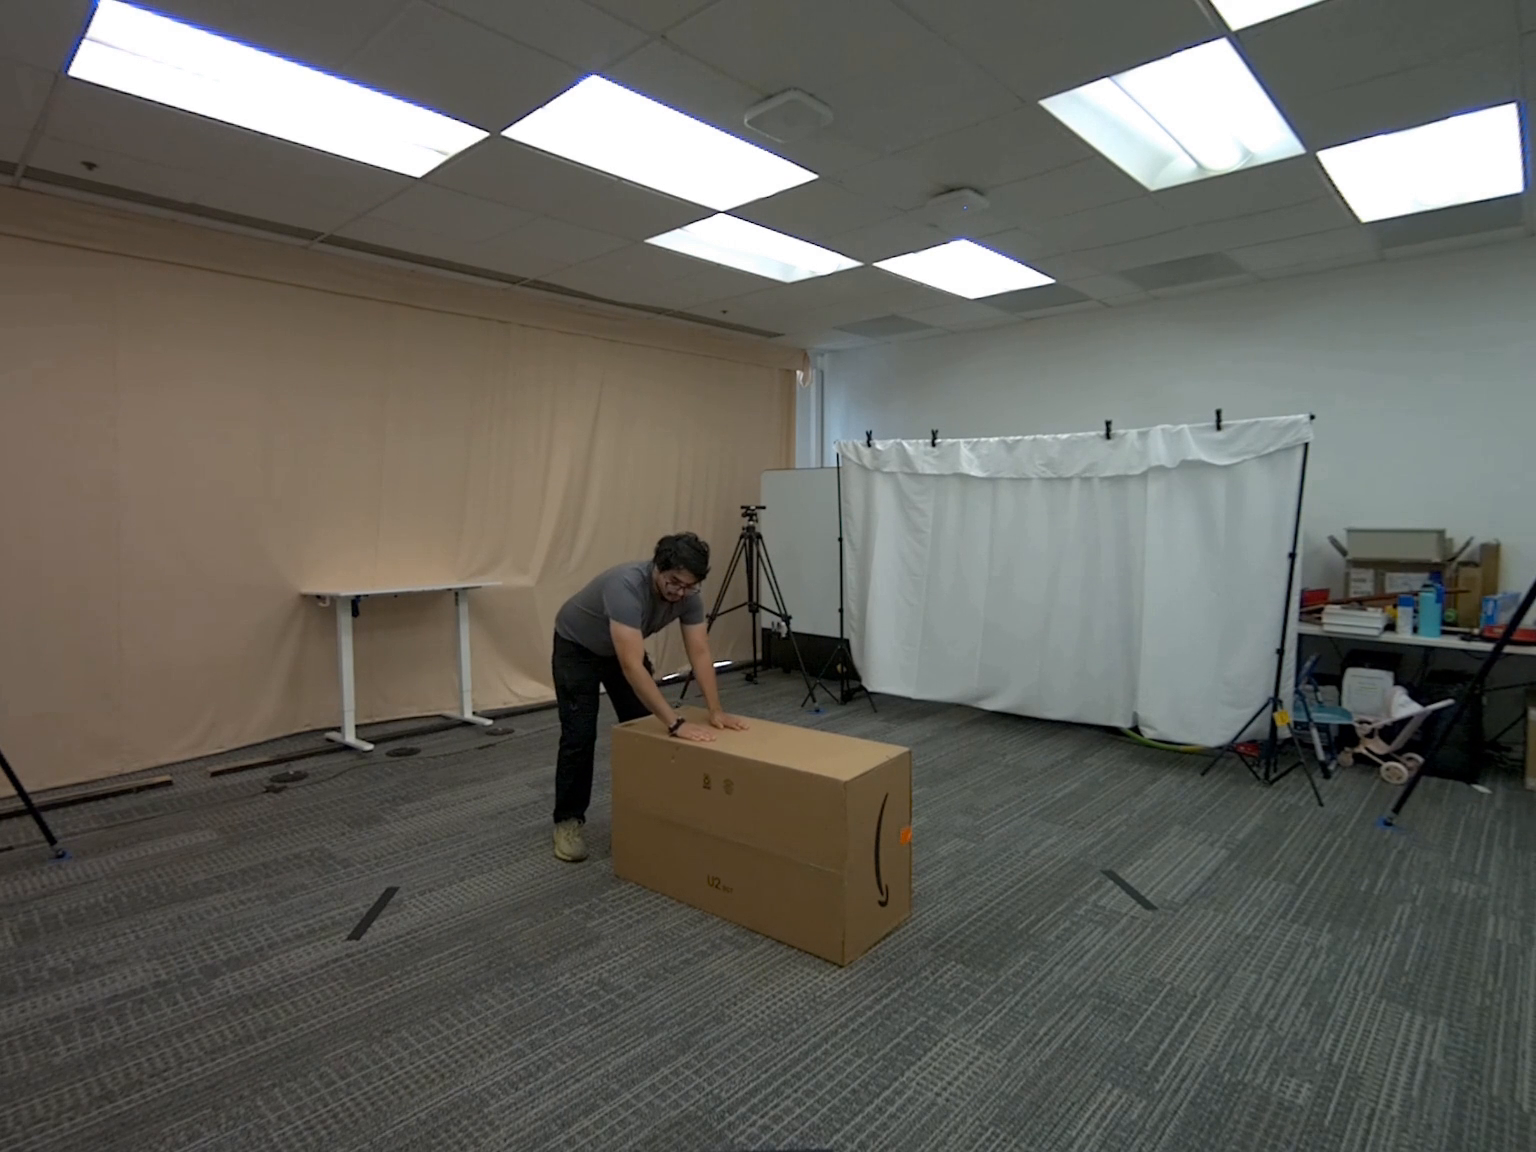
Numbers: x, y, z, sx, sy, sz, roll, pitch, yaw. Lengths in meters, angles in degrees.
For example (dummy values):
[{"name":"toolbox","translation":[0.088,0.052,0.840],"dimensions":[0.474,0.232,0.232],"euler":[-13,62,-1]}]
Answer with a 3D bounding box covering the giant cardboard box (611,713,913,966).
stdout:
[{"name":"giant cardboard box","translation":[-0.042,0.853,3.003],"dimensions":[1.059,0.576,0.413],"euler":[3,4,39]}]
